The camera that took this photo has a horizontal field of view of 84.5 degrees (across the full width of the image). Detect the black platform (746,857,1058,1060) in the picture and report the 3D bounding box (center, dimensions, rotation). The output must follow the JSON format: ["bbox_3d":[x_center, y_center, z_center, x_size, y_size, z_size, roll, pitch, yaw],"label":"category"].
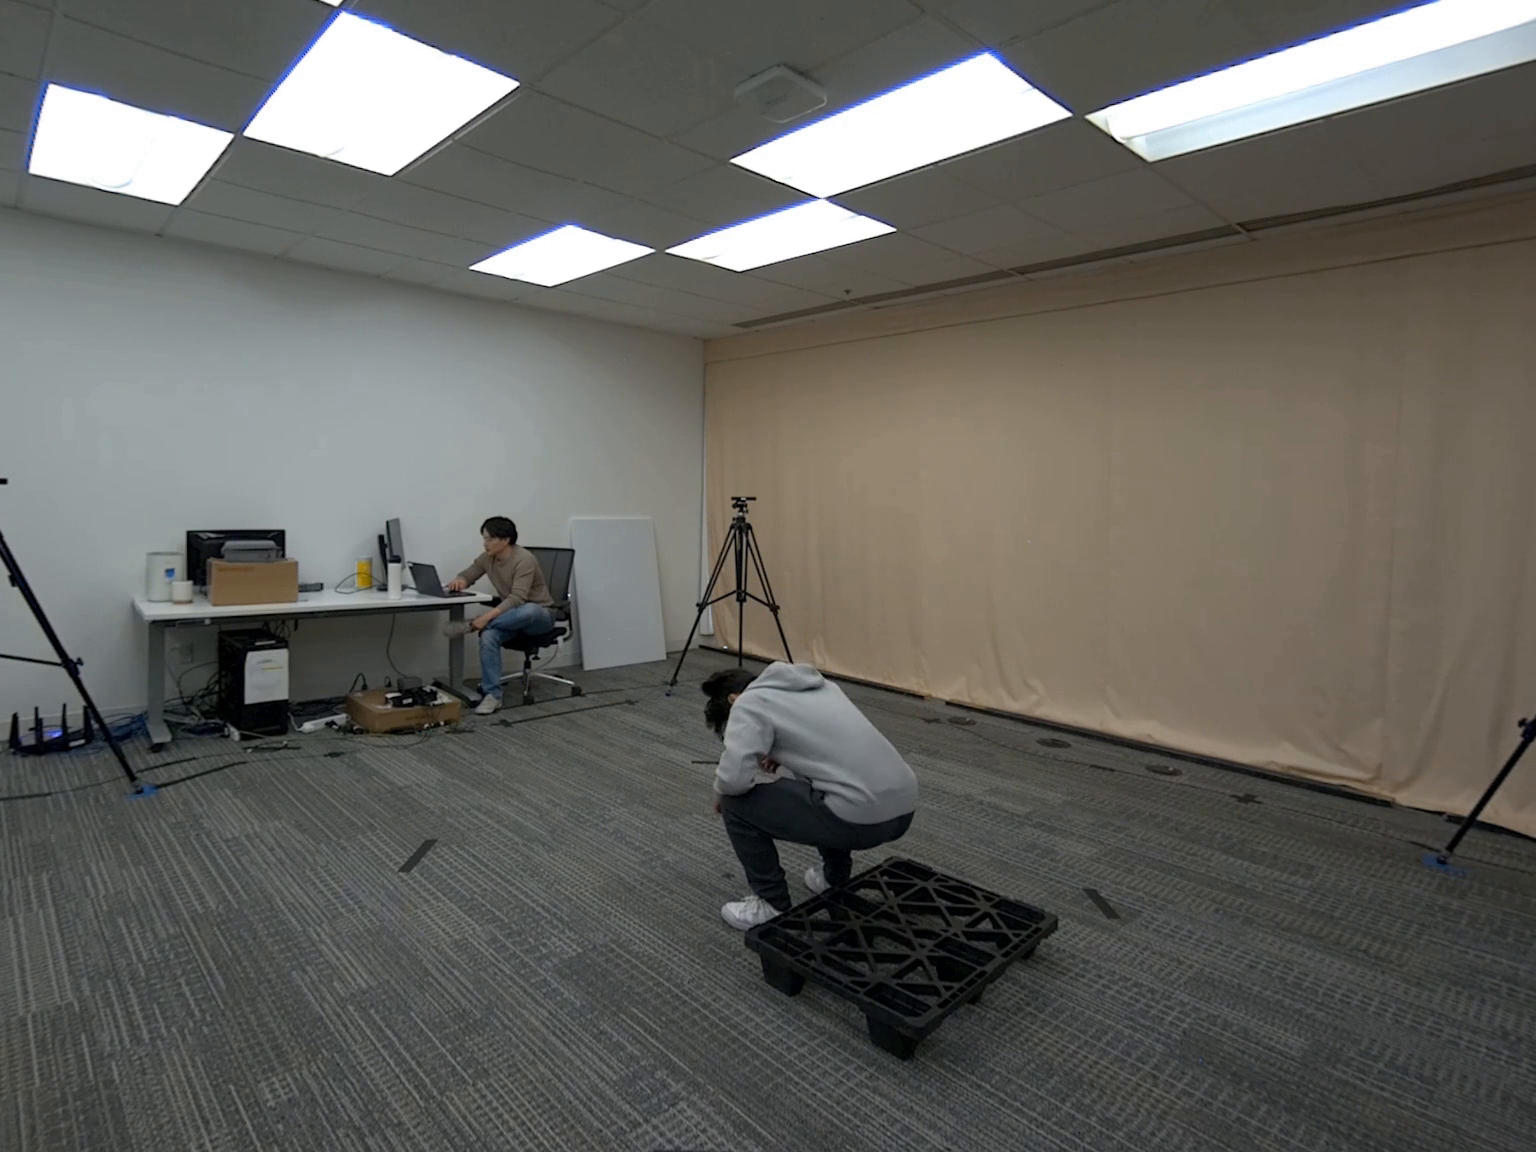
[{"bbox_3d":[0.398,1.107,2.518,0.621,0.143,0.787,6,7,43],"label":"black platform"}]
